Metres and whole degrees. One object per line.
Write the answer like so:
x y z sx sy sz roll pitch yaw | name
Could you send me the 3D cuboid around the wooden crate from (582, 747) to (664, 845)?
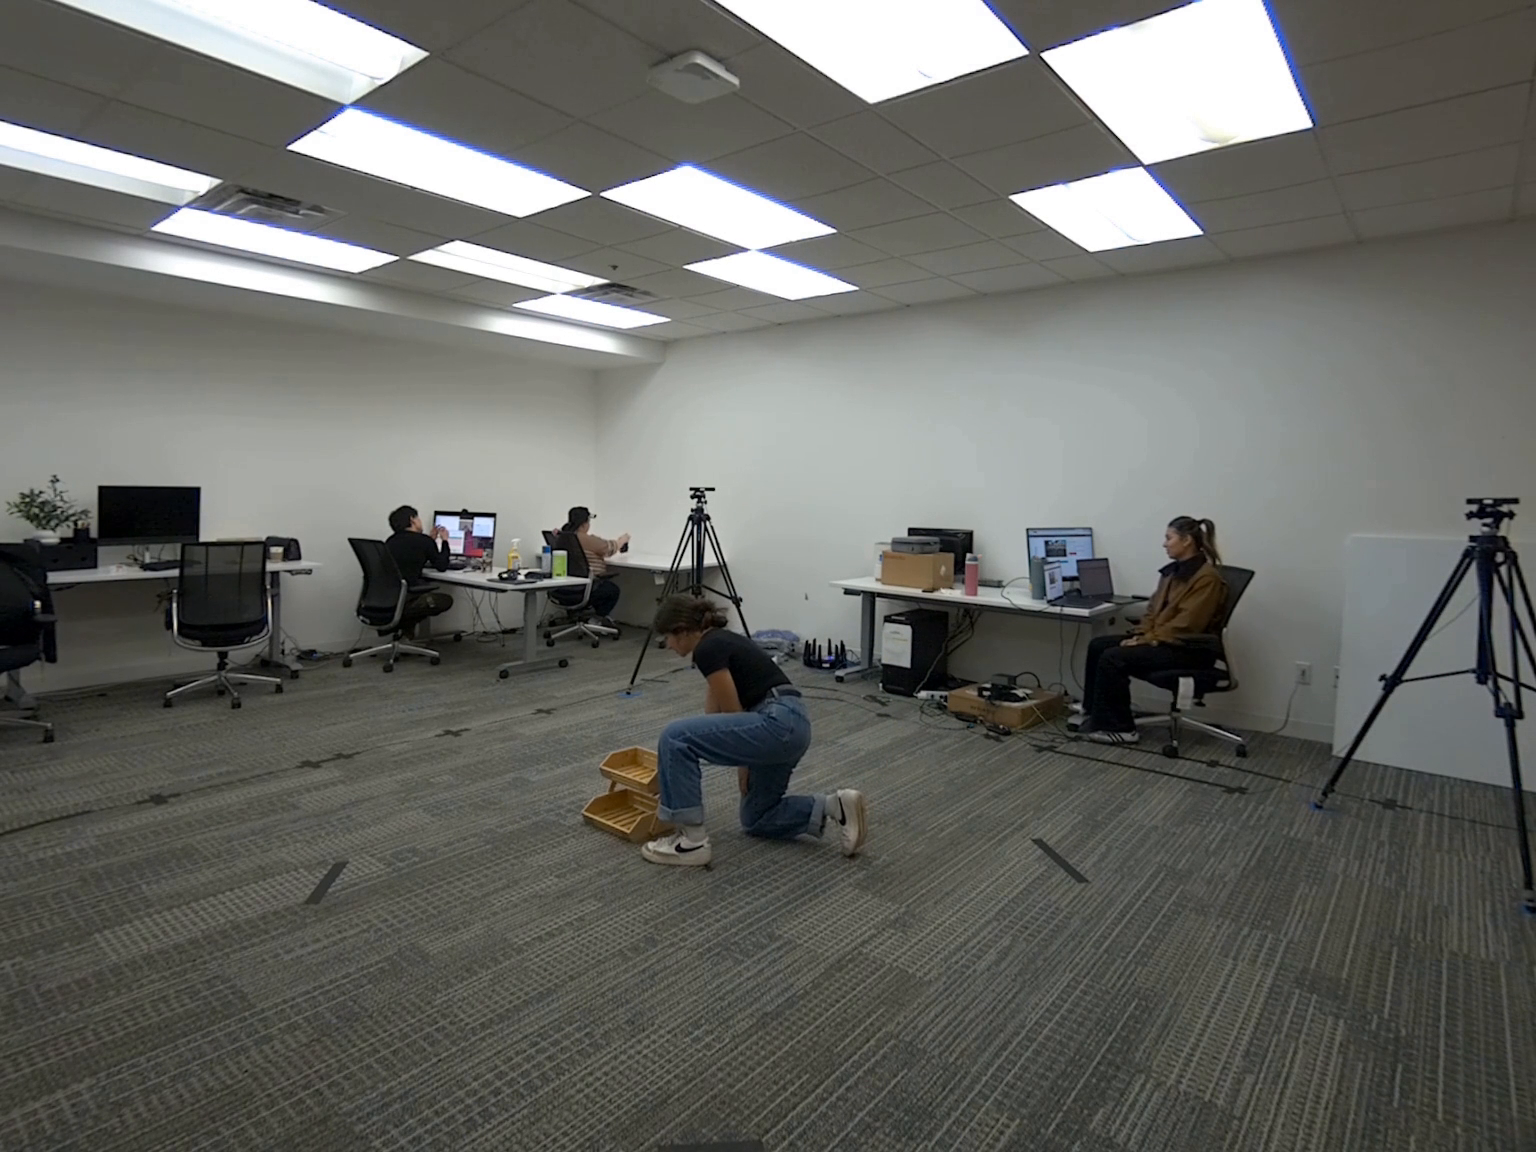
-0.570 0.888 3.515 0.335 0.272 0.293 6 6 40 | wooden crate
